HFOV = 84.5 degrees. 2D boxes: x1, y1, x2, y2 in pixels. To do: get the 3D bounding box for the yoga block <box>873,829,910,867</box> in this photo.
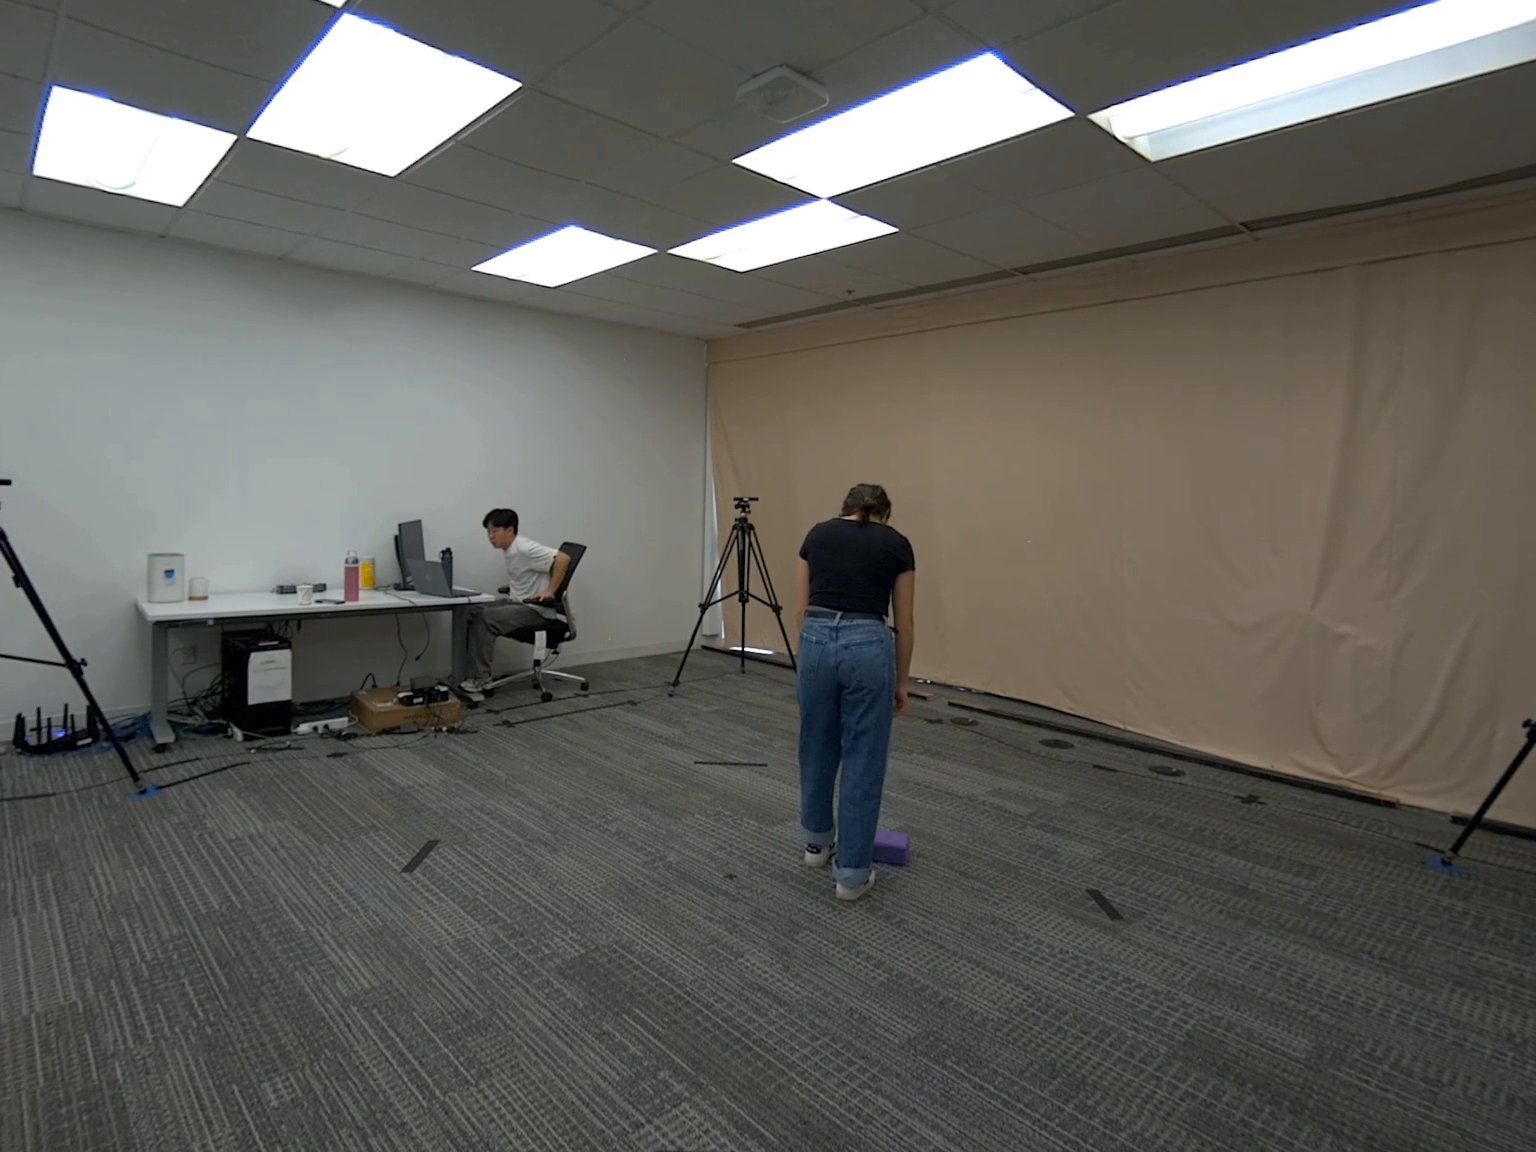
[{"bbox_3d":[0.423,1.062,3.316,0.232,0.076,0.147,2,5,17],"label":"yoga block"}]
